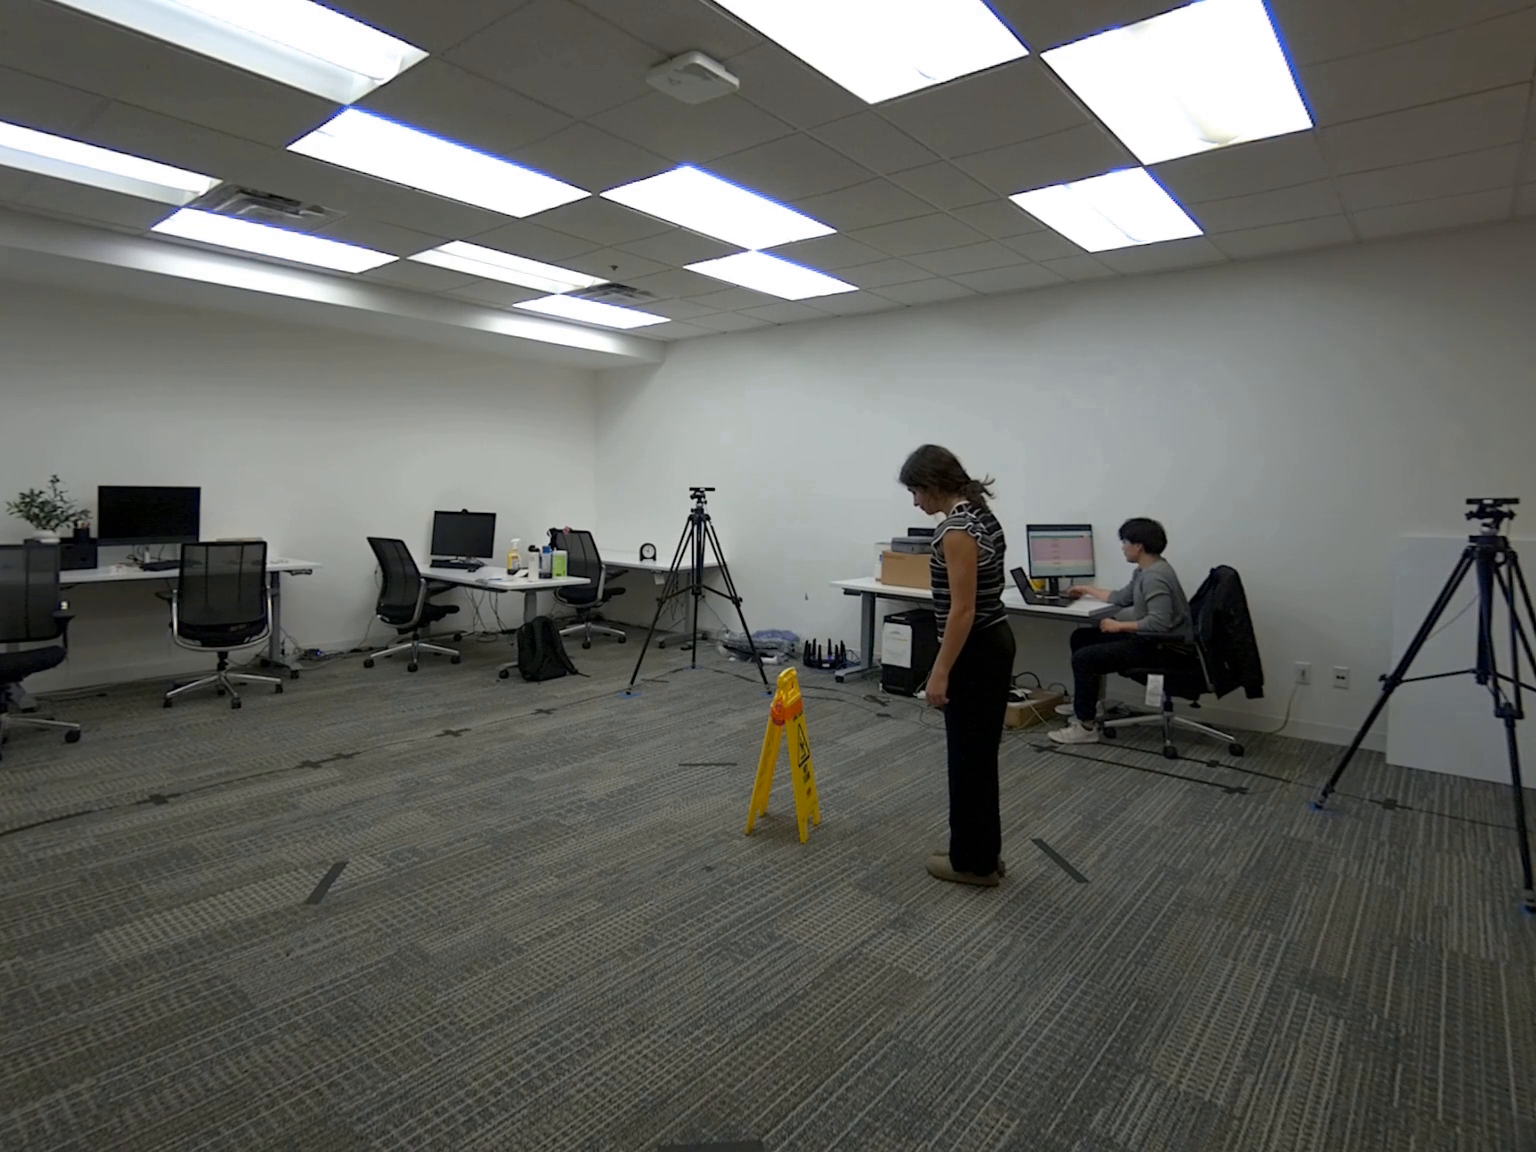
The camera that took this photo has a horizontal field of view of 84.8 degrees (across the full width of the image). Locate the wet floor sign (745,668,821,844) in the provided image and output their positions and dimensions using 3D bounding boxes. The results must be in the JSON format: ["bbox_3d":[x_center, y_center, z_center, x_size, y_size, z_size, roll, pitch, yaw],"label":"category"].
[{"bbox_3d":[0.067,0.711,3.497,0.295,0.644,0.278,3,4,17],"label":"wet floor sign"}]
